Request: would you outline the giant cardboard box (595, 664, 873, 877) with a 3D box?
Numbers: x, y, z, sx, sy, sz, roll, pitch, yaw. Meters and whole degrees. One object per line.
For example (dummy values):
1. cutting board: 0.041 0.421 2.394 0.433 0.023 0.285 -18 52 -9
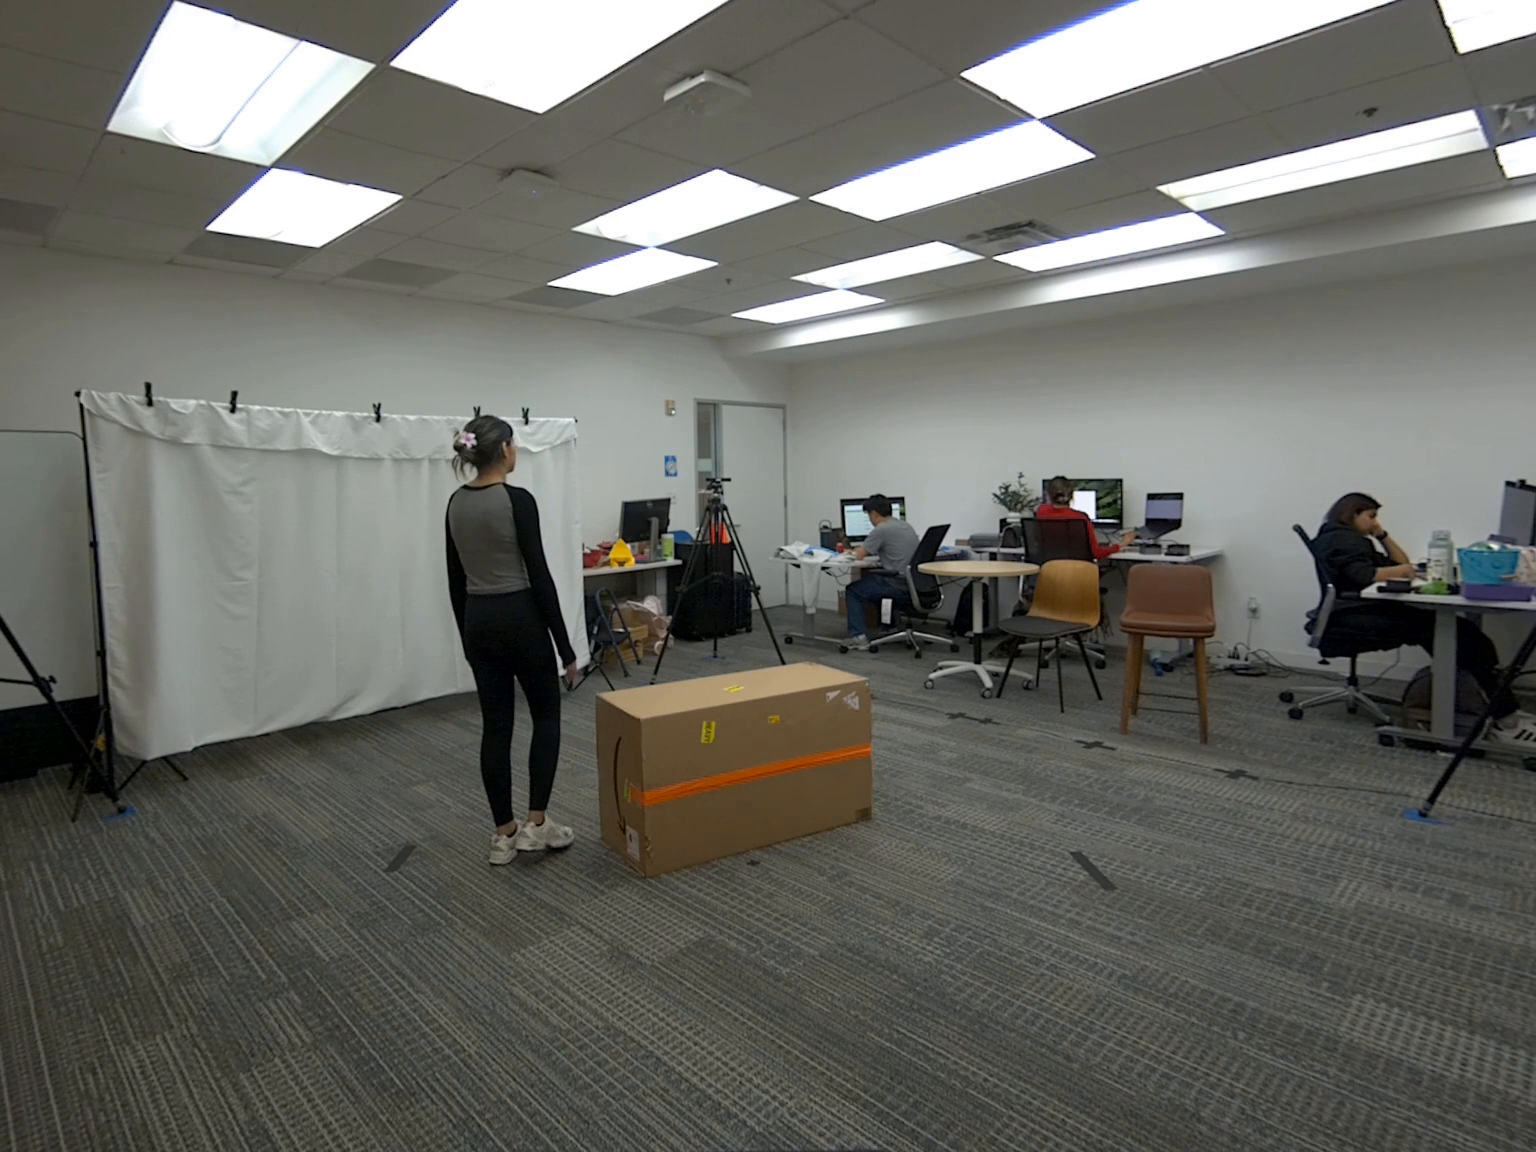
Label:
1. giant cardboard box: -0.121 0.723 3.400 1.002 0.575 0.438 -5 5 -30
